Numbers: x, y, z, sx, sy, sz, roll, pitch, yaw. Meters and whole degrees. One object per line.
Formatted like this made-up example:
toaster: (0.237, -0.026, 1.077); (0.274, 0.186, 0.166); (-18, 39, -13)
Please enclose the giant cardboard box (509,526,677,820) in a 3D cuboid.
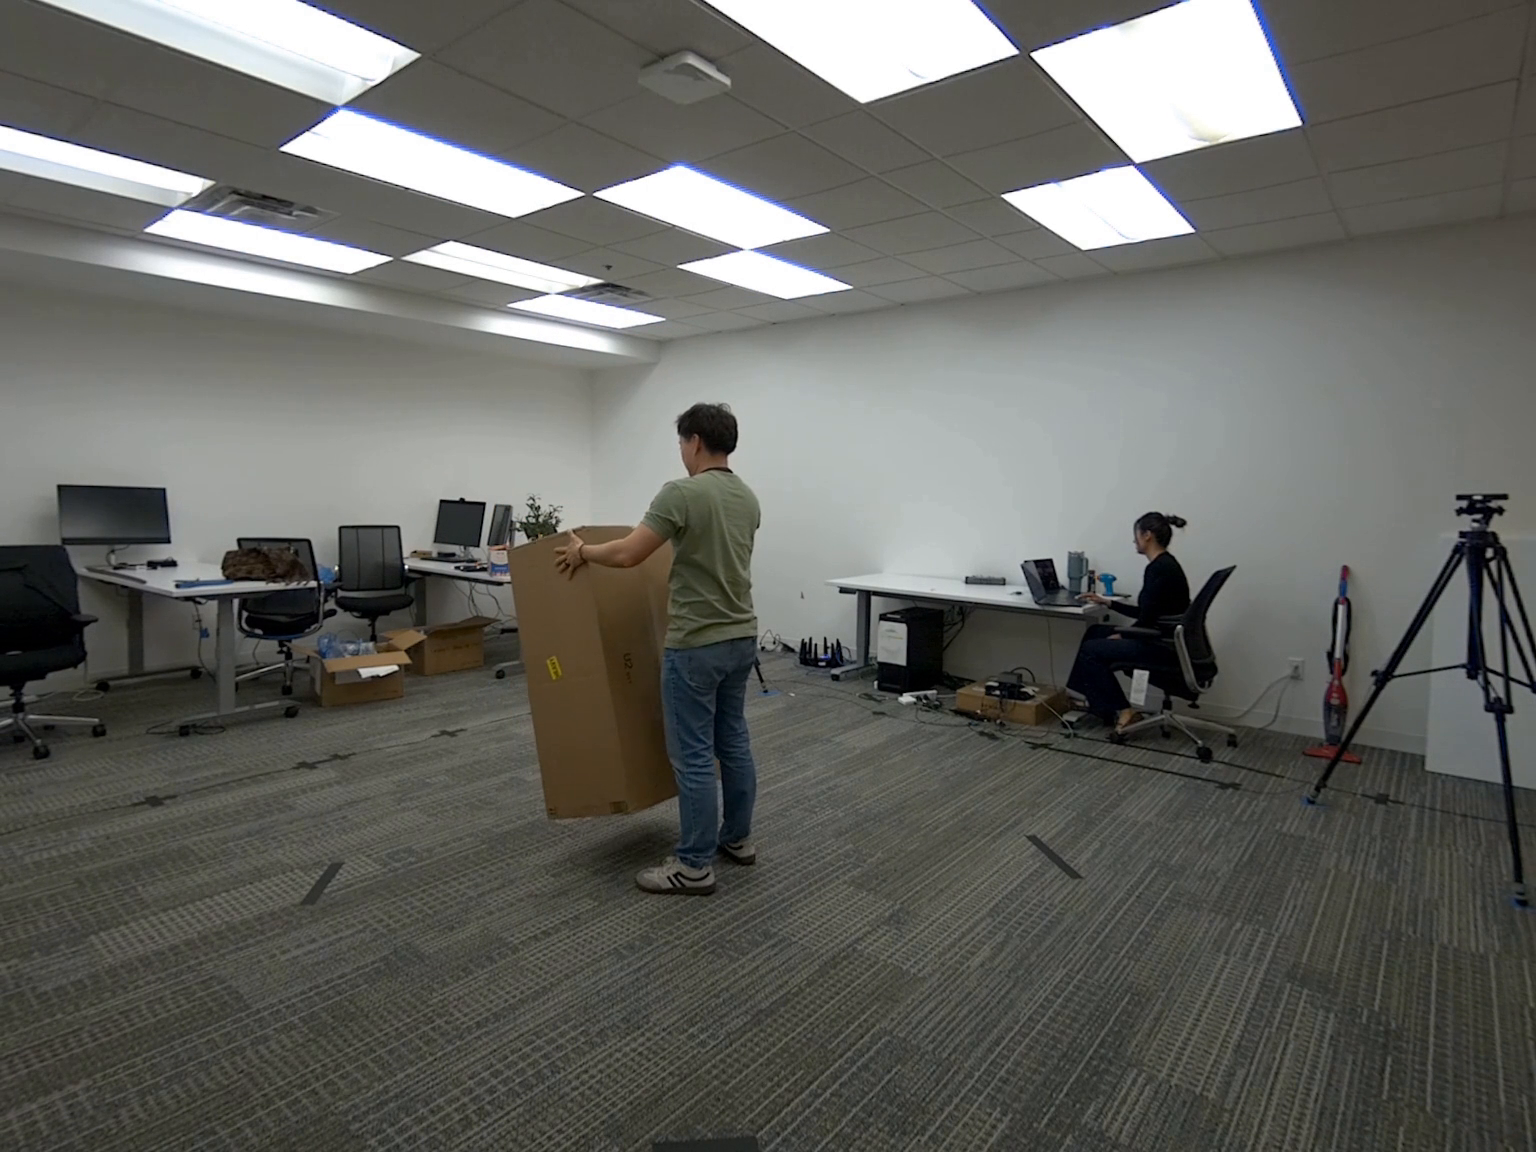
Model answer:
giant cardboard box: (-0.610, 0.348, 3.339); (0.435, 1.035, 0.561); (-16, -8, 32)
